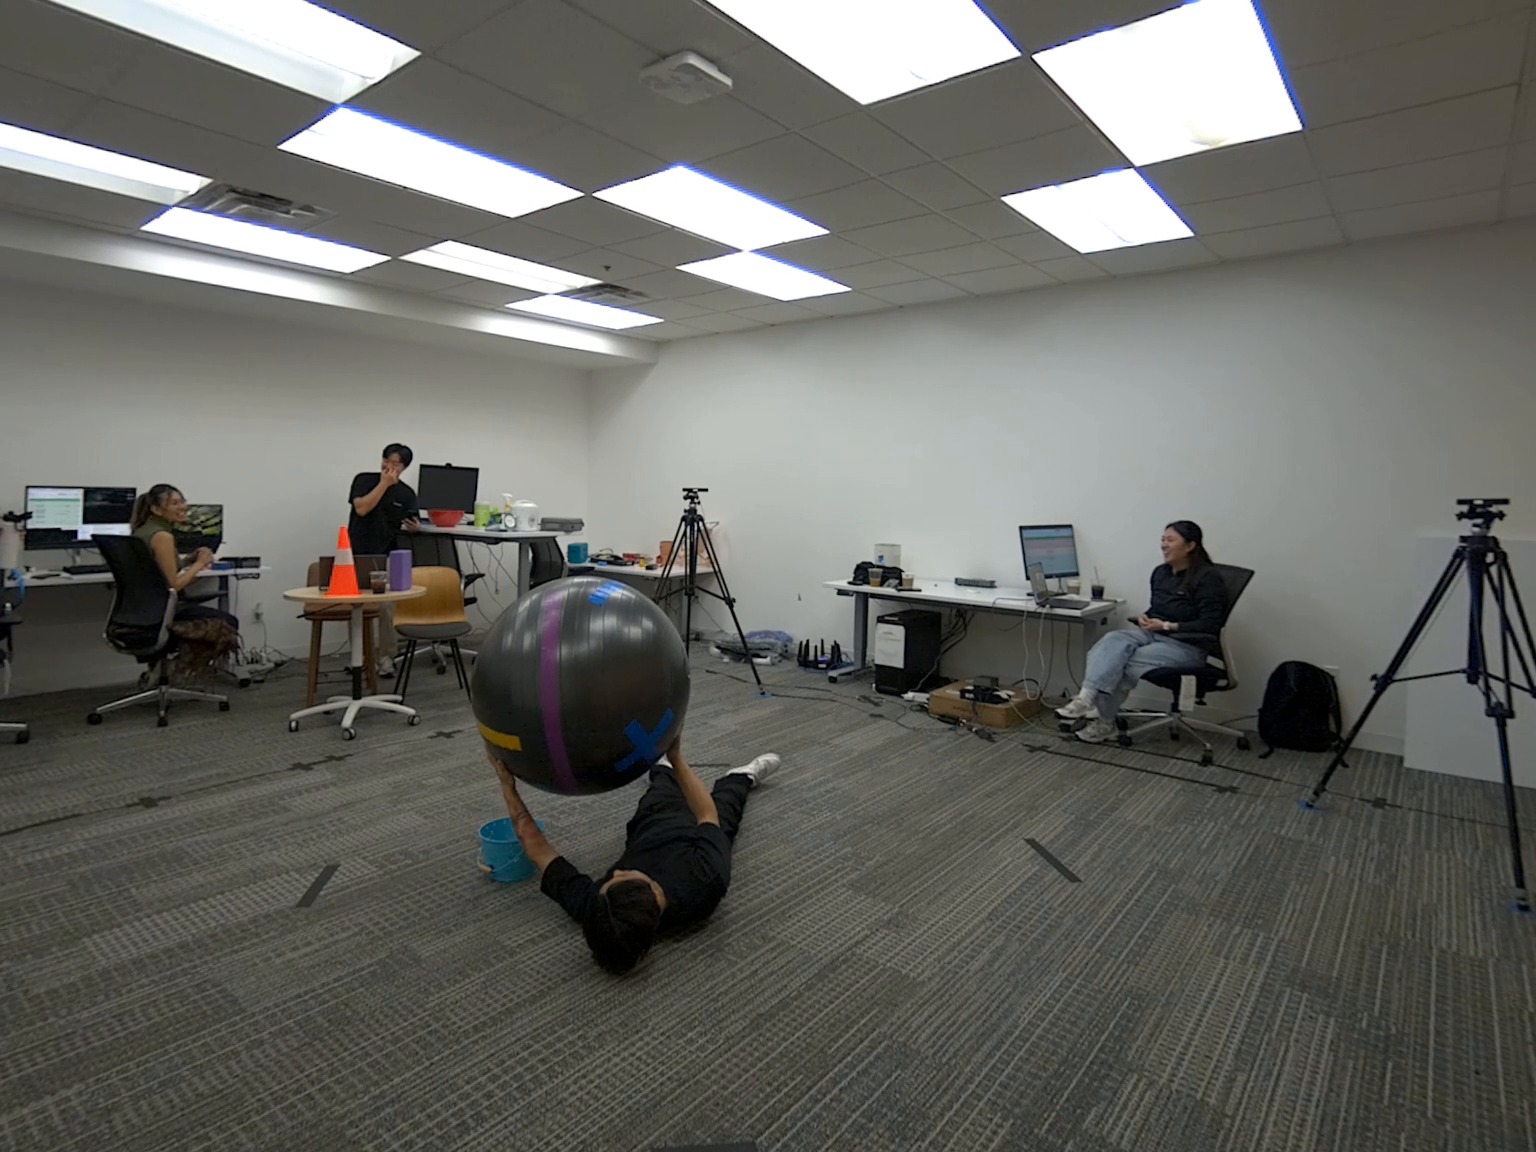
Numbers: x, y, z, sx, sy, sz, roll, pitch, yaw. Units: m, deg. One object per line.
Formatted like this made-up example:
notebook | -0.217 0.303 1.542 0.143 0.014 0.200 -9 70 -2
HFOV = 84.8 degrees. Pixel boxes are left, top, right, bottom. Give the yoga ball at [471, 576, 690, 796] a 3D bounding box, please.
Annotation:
yoga ball | -0.661 0.382 2.998 0.757 0.755 0.762 1 4 -2
